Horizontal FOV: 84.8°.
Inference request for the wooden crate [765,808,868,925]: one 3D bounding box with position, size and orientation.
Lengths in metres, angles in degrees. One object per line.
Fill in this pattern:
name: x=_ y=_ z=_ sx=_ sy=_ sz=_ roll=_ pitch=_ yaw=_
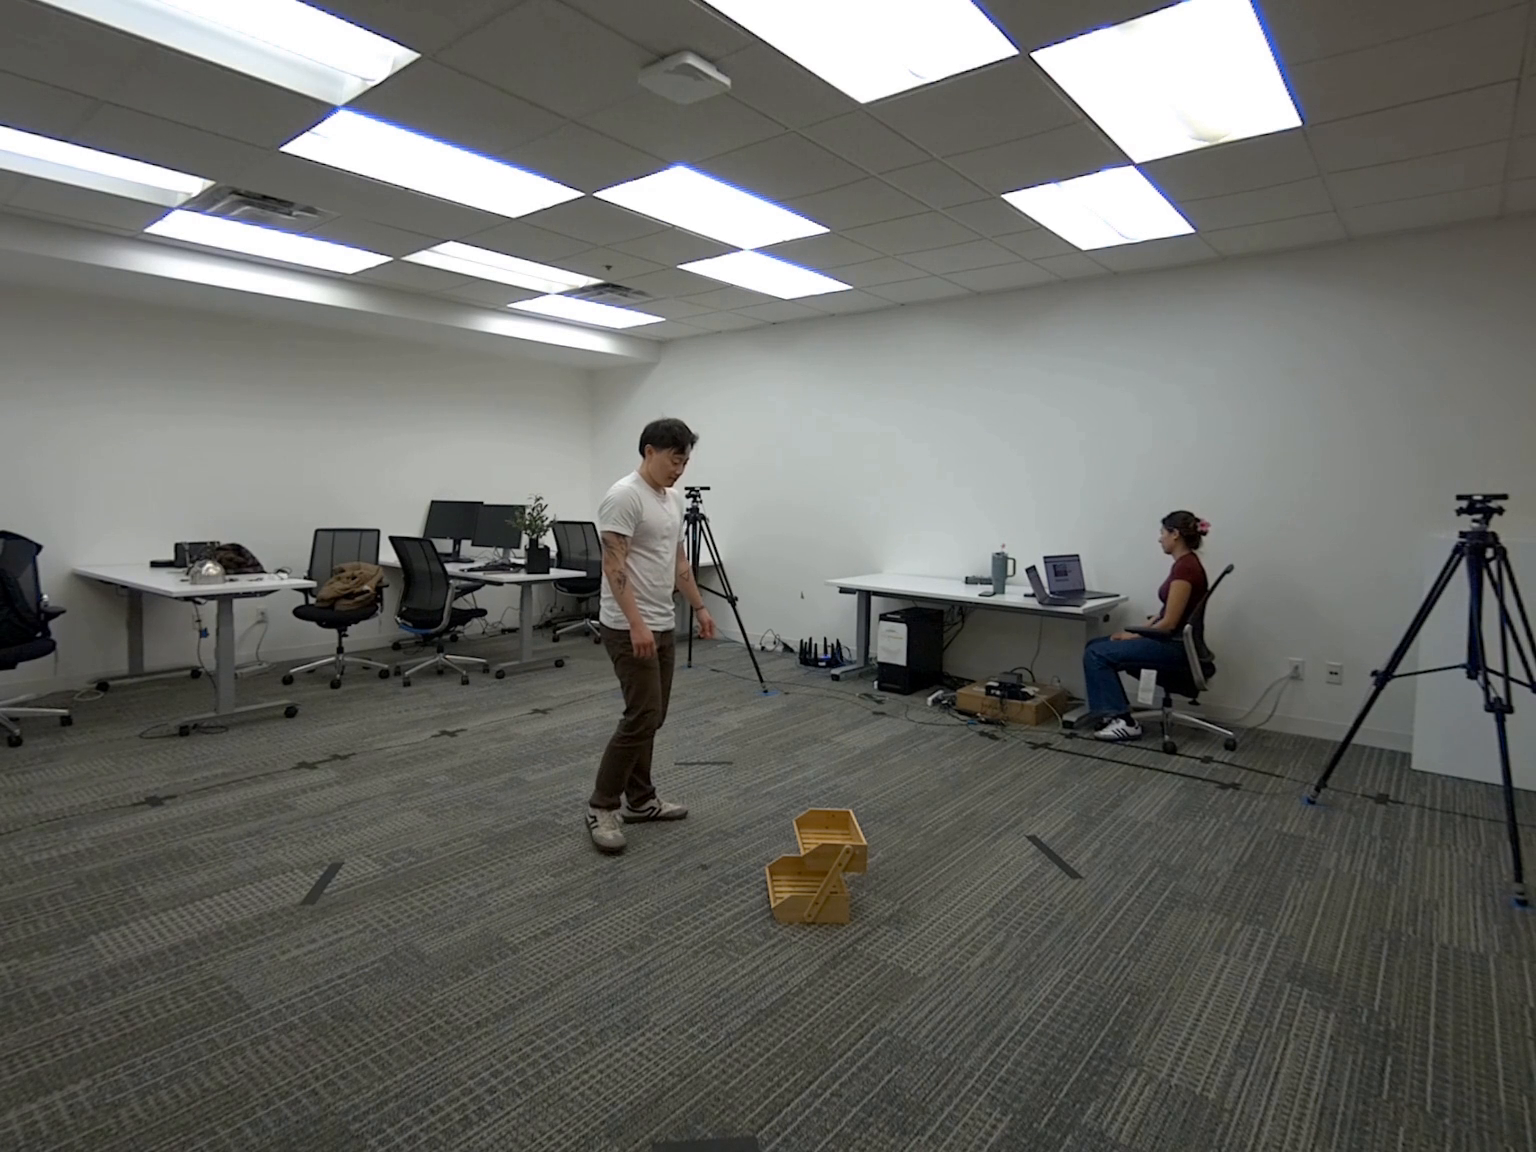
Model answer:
wooden crate: x=0.147 y=0.961 z=2.868 sx=0.301 sy=0.272 sz=0.326 roll=1 pitch=4 yaw=-3
